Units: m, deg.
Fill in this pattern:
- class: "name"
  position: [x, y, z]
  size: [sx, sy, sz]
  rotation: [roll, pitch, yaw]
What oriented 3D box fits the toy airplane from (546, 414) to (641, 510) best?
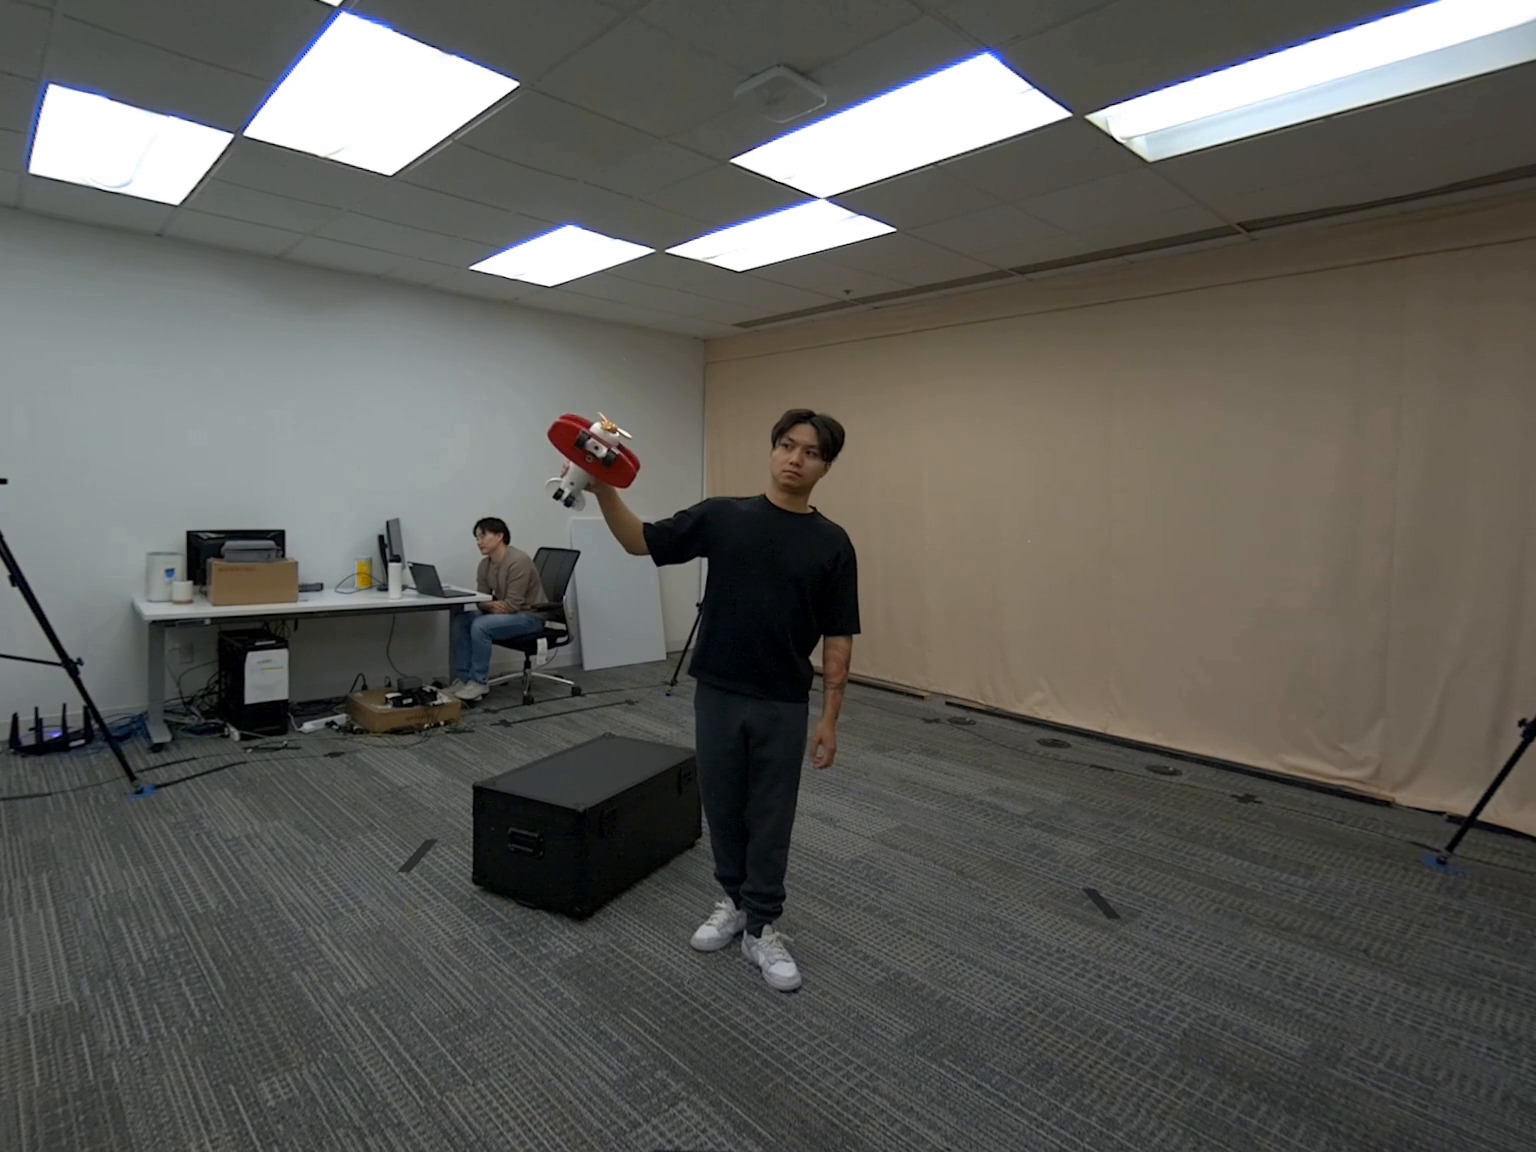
- class: "toy airplane"
  position: [-0.503, -0.311, 2.258]
  size: [0.262, 0.246, 0.158]
  rotation: [-19, 25, 22]
